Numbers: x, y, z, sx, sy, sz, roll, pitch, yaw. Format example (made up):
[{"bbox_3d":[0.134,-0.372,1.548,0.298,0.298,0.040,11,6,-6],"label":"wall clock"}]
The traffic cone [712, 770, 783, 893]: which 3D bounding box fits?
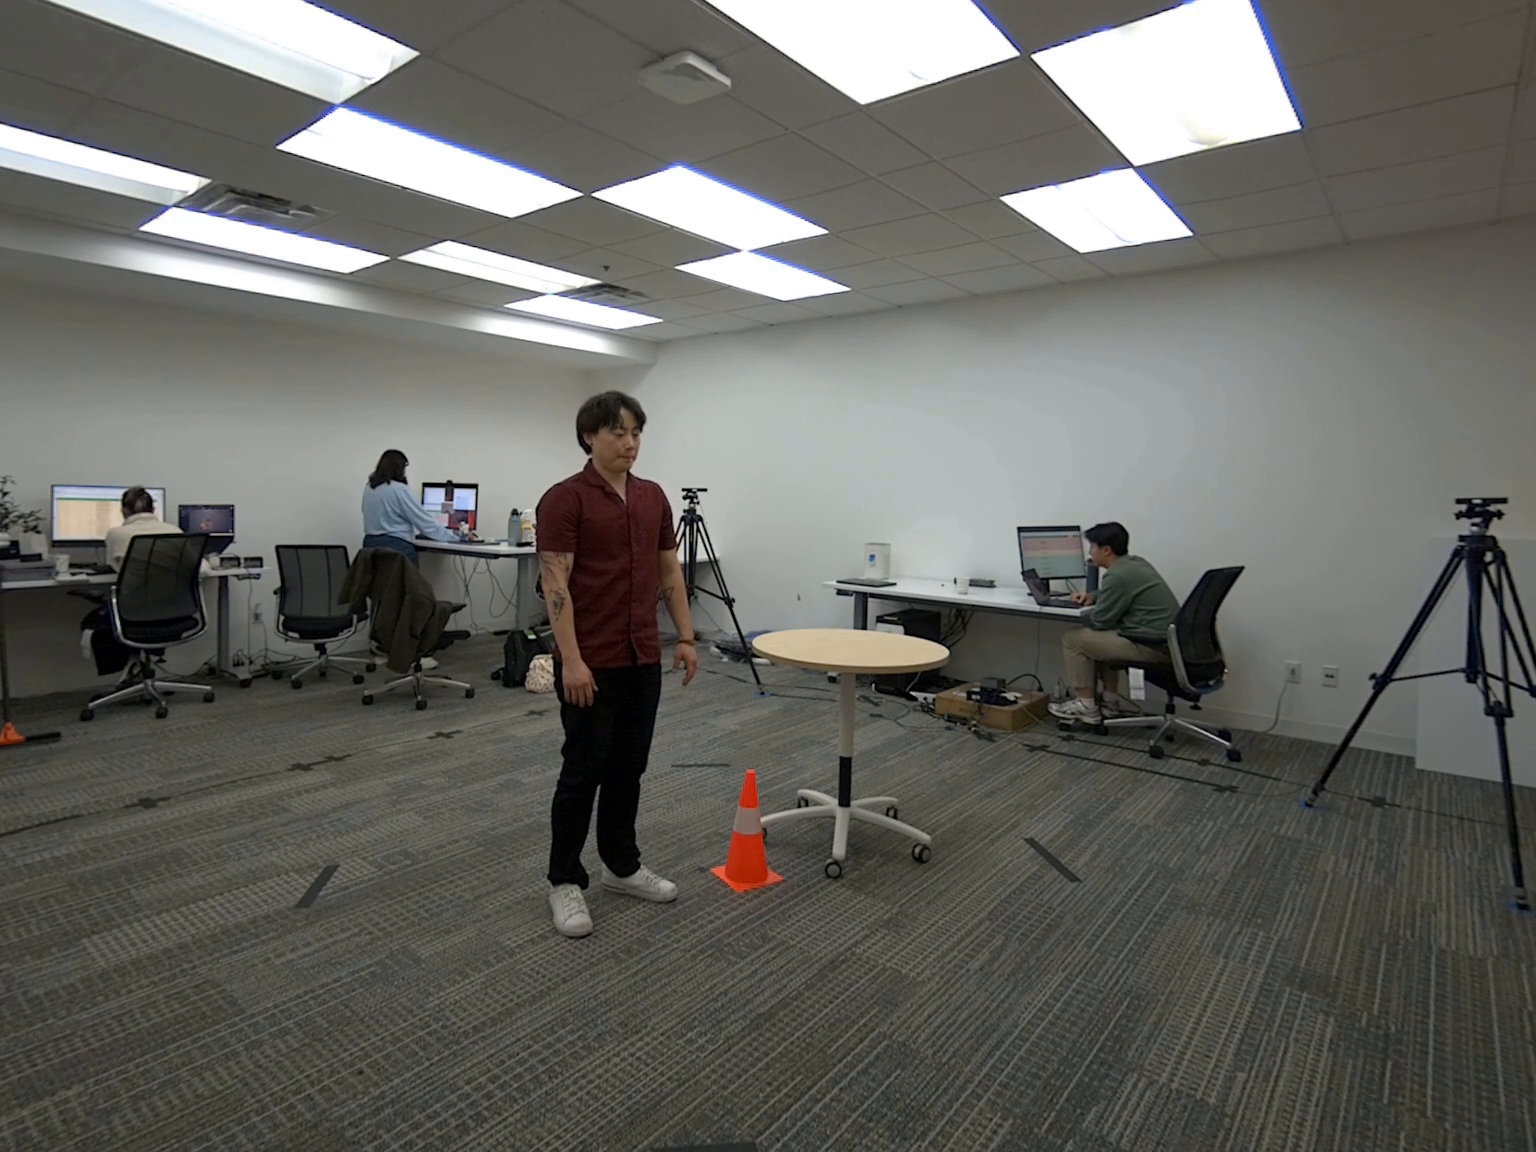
[{"bbox_3d":[-0.076,0.898,3.058,0.198,0.382,0.211,0,4,-30],"label":"traffic cone"}]
